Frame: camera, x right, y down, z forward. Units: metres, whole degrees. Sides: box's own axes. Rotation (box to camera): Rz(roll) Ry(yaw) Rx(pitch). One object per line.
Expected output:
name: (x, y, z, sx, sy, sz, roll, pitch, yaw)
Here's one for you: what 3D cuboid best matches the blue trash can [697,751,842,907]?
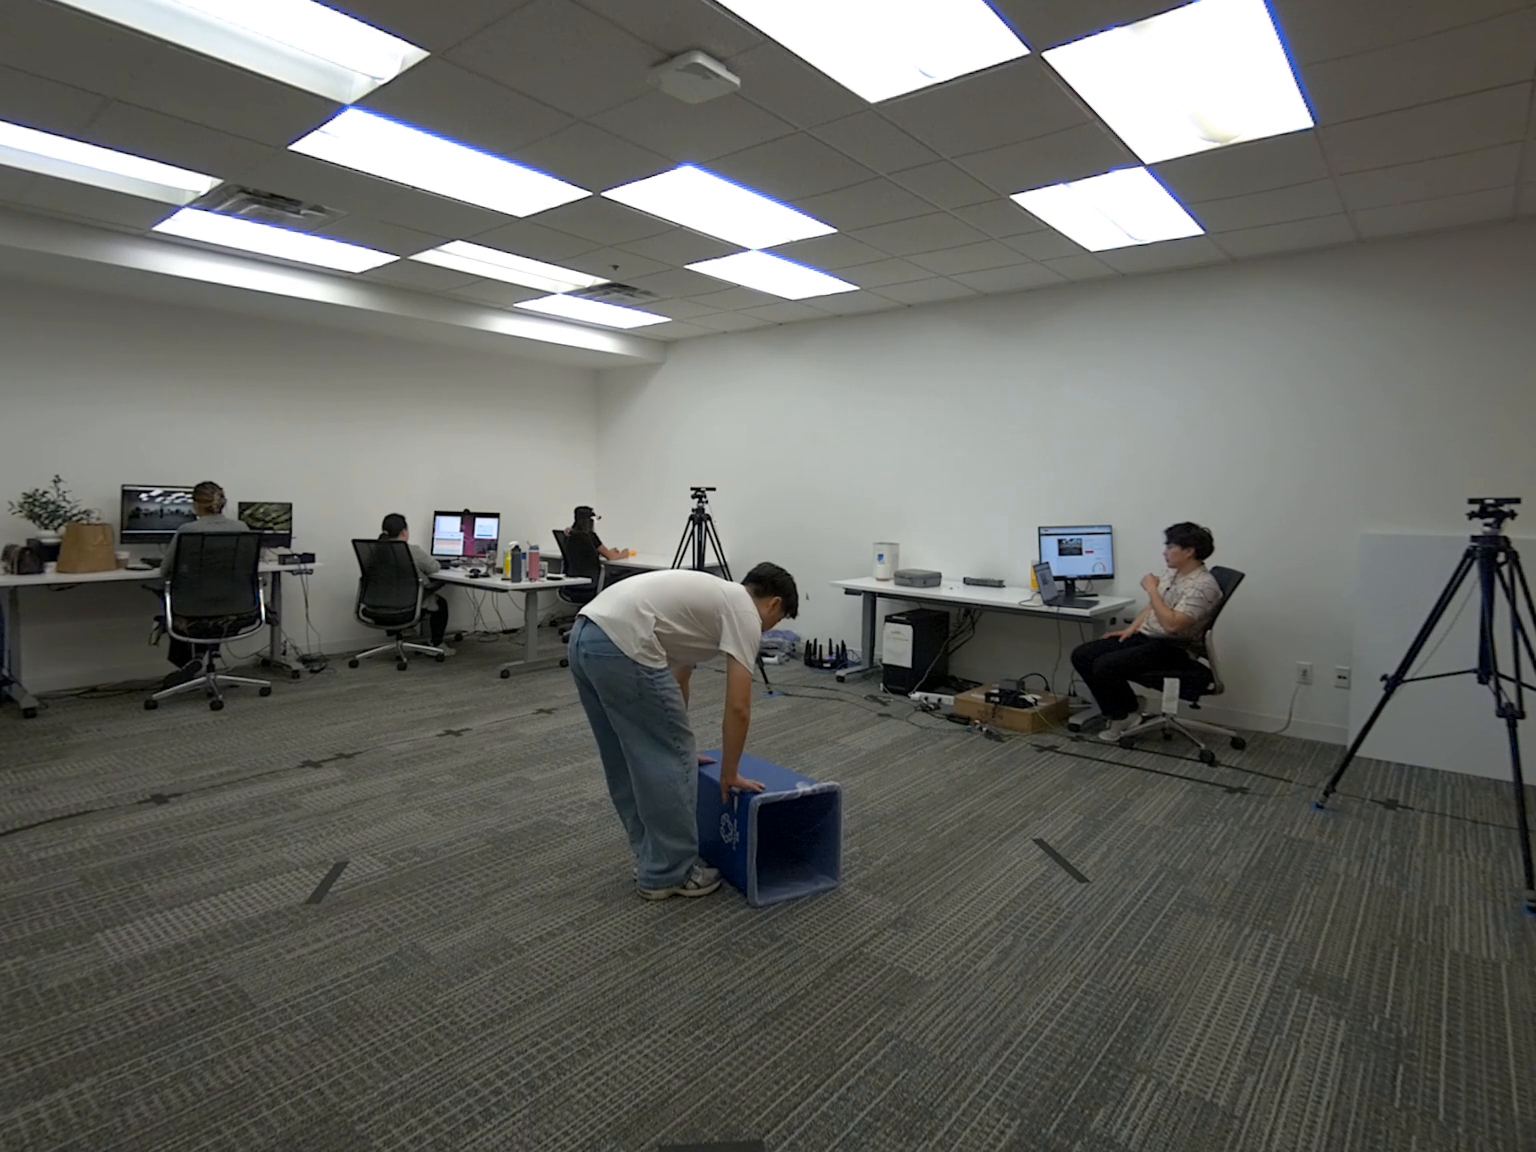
blue trash can: (-0.095, 0.894, 3.198, 0.364, 0.377, 0.735, -1, 4, -32)
